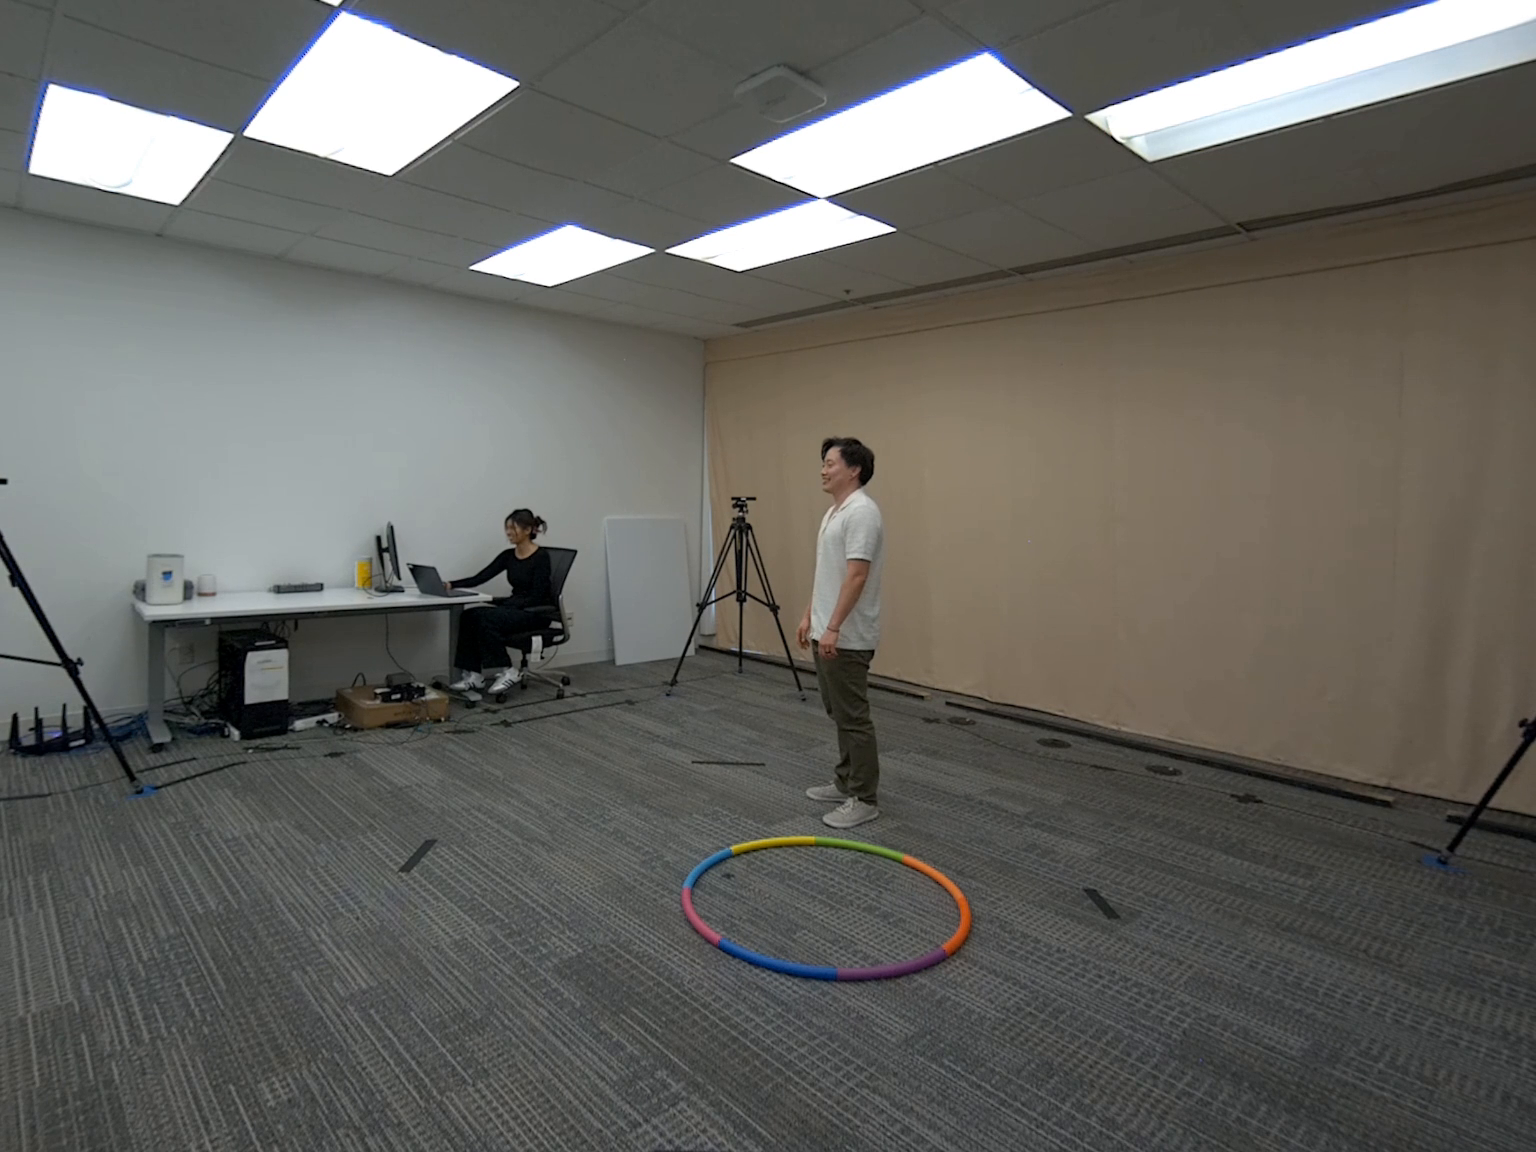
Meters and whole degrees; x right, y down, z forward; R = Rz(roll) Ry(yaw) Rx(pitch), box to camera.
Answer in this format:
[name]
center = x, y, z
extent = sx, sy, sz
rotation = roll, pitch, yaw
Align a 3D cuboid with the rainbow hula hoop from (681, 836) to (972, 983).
[rainbow hula hoop]
center = 0.184, 1.100, 2.923
extent = 0.978, 0.035, 0.982
rotation = 1, 5, -1
